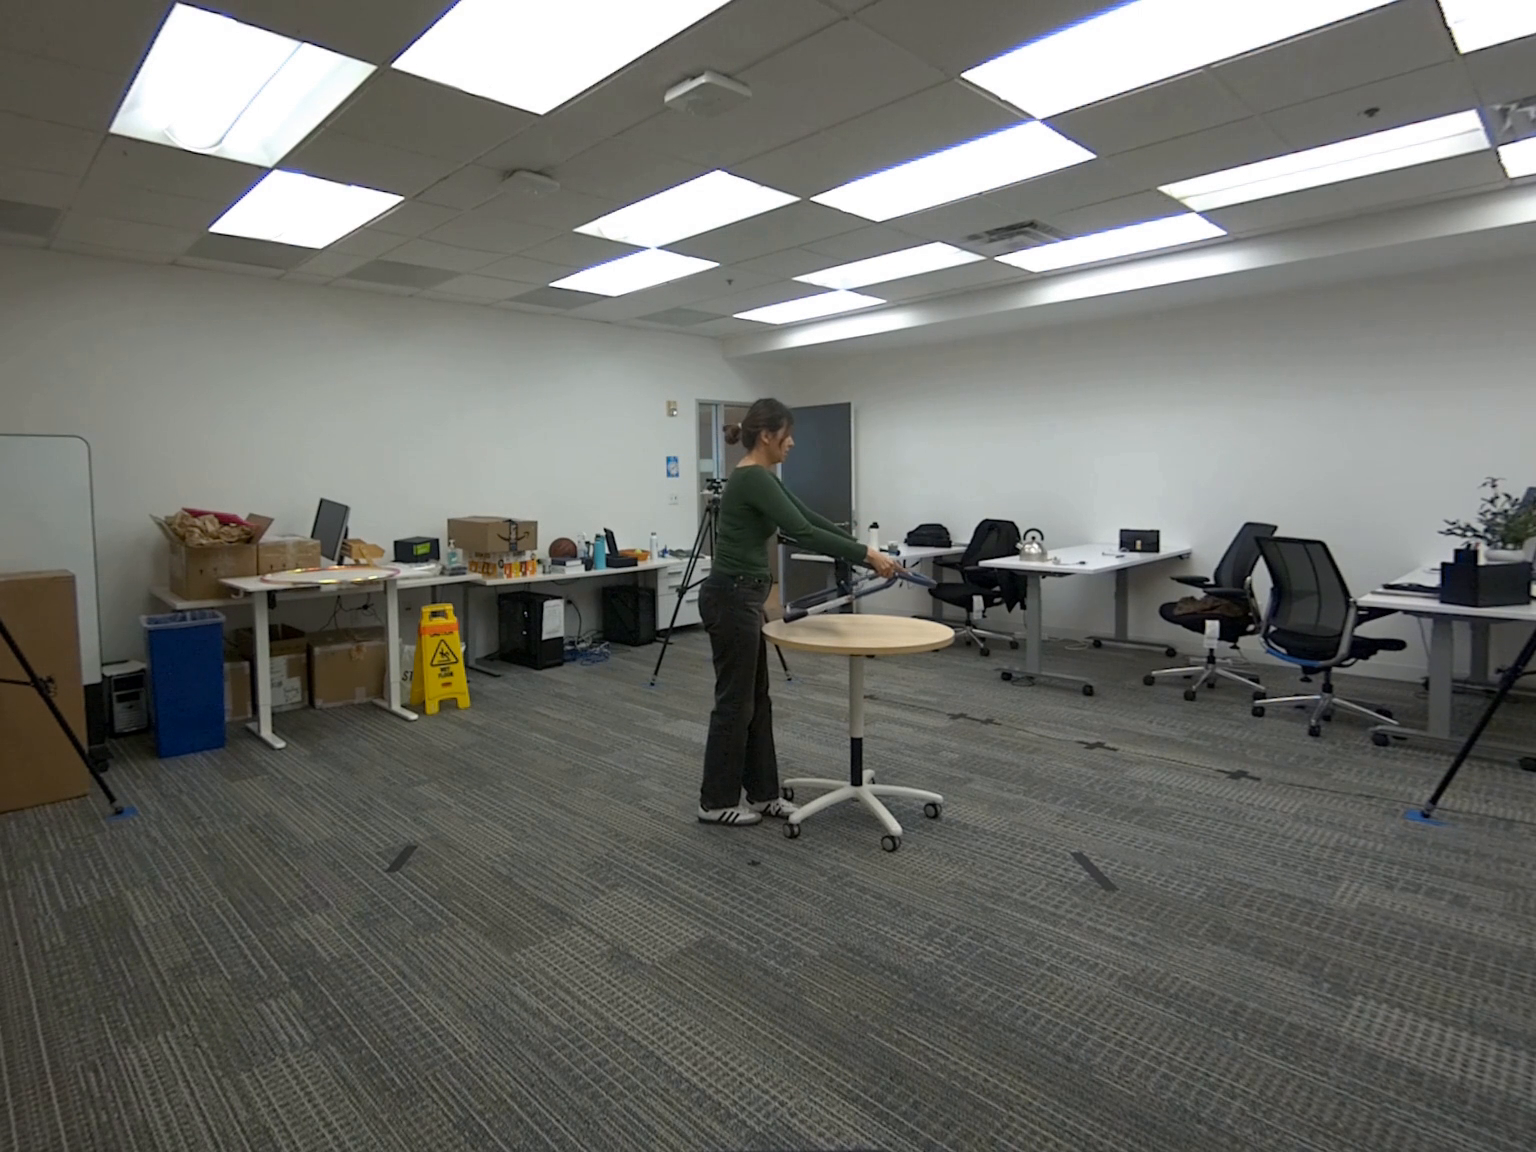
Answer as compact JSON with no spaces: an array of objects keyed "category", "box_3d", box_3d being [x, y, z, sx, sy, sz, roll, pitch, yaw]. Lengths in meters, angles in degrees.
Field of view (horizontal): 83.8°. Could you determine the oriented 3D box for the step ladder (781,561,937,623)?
[{"category":"step ladder","box_3d":[0.356,-0.026,3.429,0.609,0.347,0.431,-3,6,5]}]
